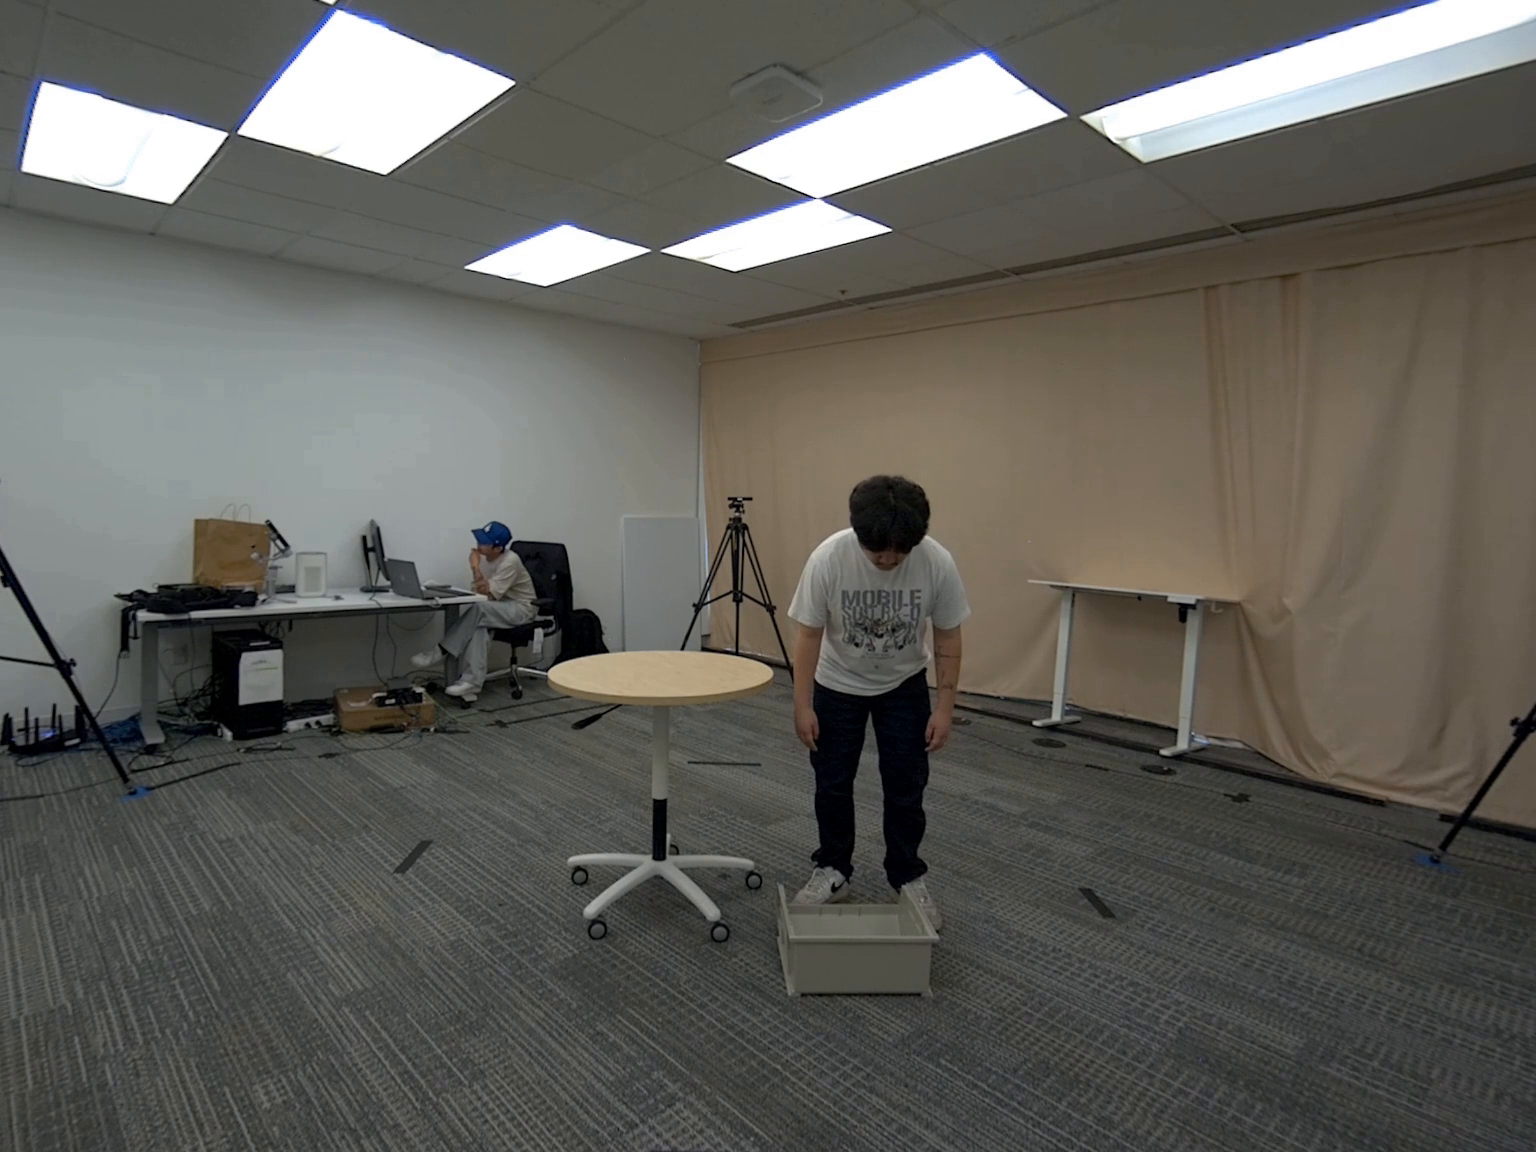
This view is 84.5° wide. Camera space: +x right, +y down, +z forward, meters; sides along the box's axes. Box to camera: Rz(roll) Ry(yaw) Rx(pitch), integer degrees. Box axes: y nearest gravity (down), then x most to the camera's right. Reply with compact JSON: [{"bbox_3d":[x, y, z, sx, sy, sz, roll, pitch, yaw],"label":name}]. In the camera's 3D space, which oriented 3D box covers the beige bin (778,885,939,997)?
[{"bbox_3d":[0.244,1.079,2.536,0.421,0.188,0.380,1,6,-5],"label":"beige bin"}]
